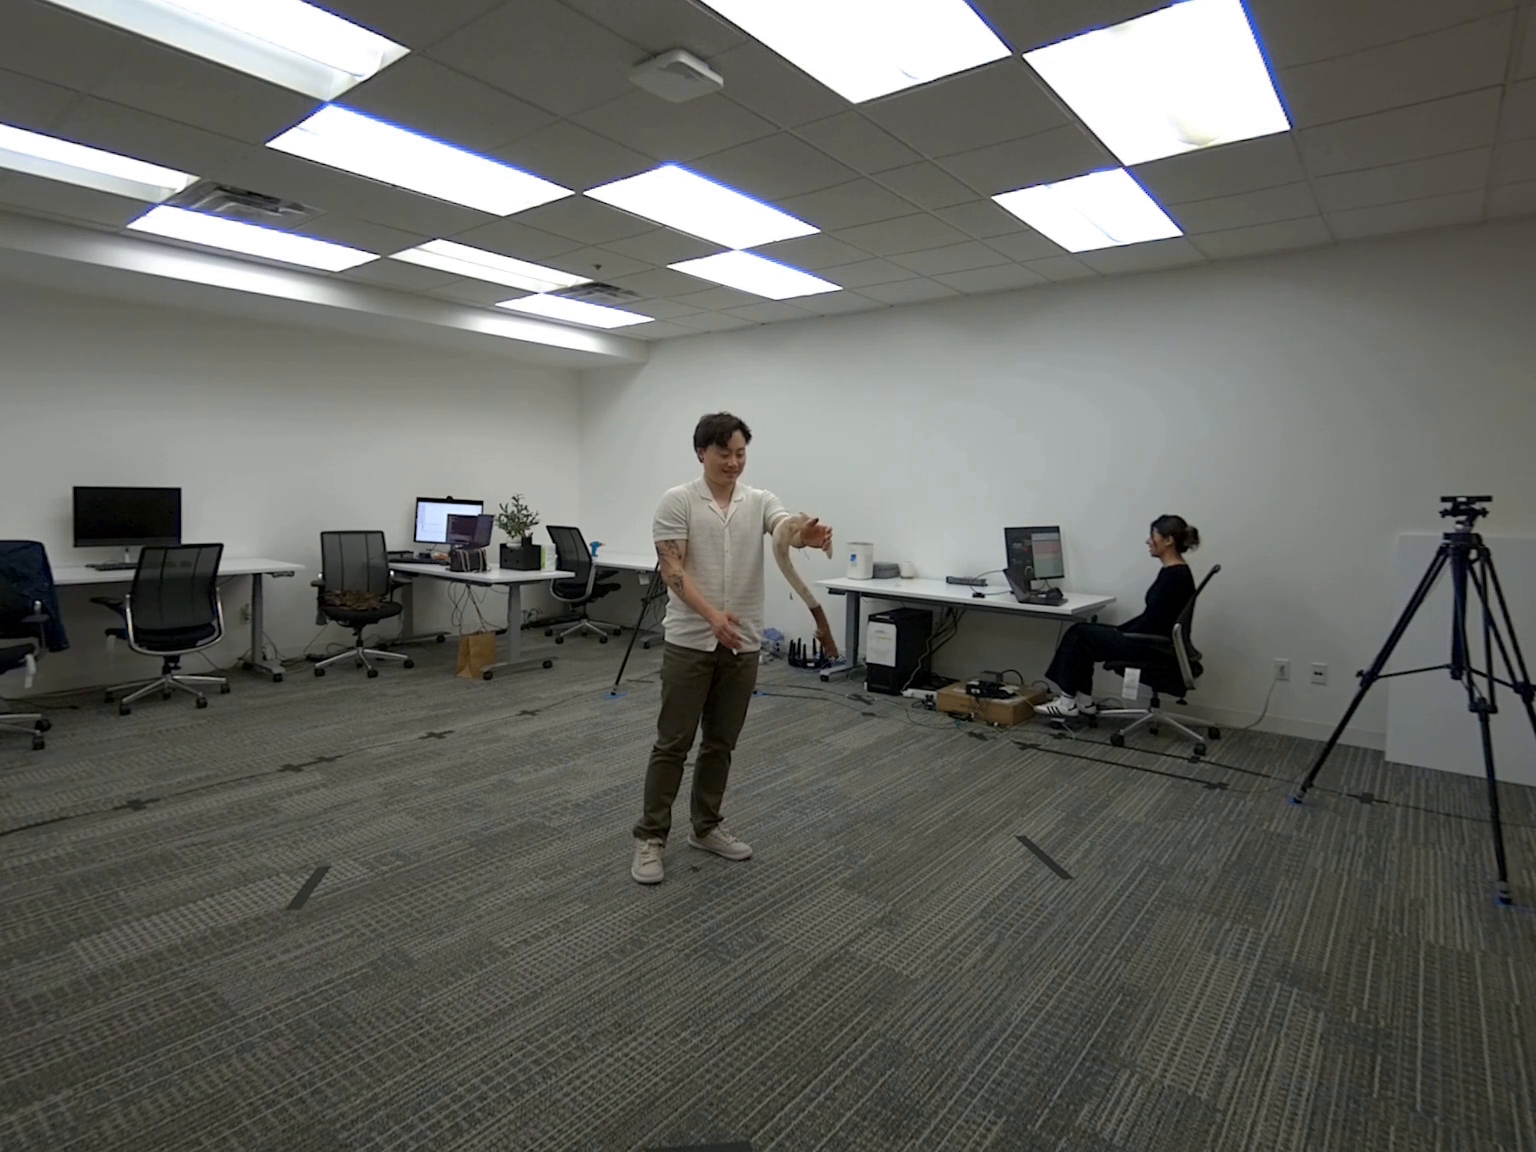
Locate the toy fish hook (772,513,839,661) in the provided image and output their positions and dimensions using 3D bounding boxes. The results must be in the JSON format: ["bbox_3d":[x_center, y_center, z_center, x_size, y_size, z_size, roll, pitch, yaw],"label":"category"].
[{"bbox_3d":[0.164,0.029,2.854,0.222,0.501,0.049,-25,9,-21],"label":"toy fish hook"}]
